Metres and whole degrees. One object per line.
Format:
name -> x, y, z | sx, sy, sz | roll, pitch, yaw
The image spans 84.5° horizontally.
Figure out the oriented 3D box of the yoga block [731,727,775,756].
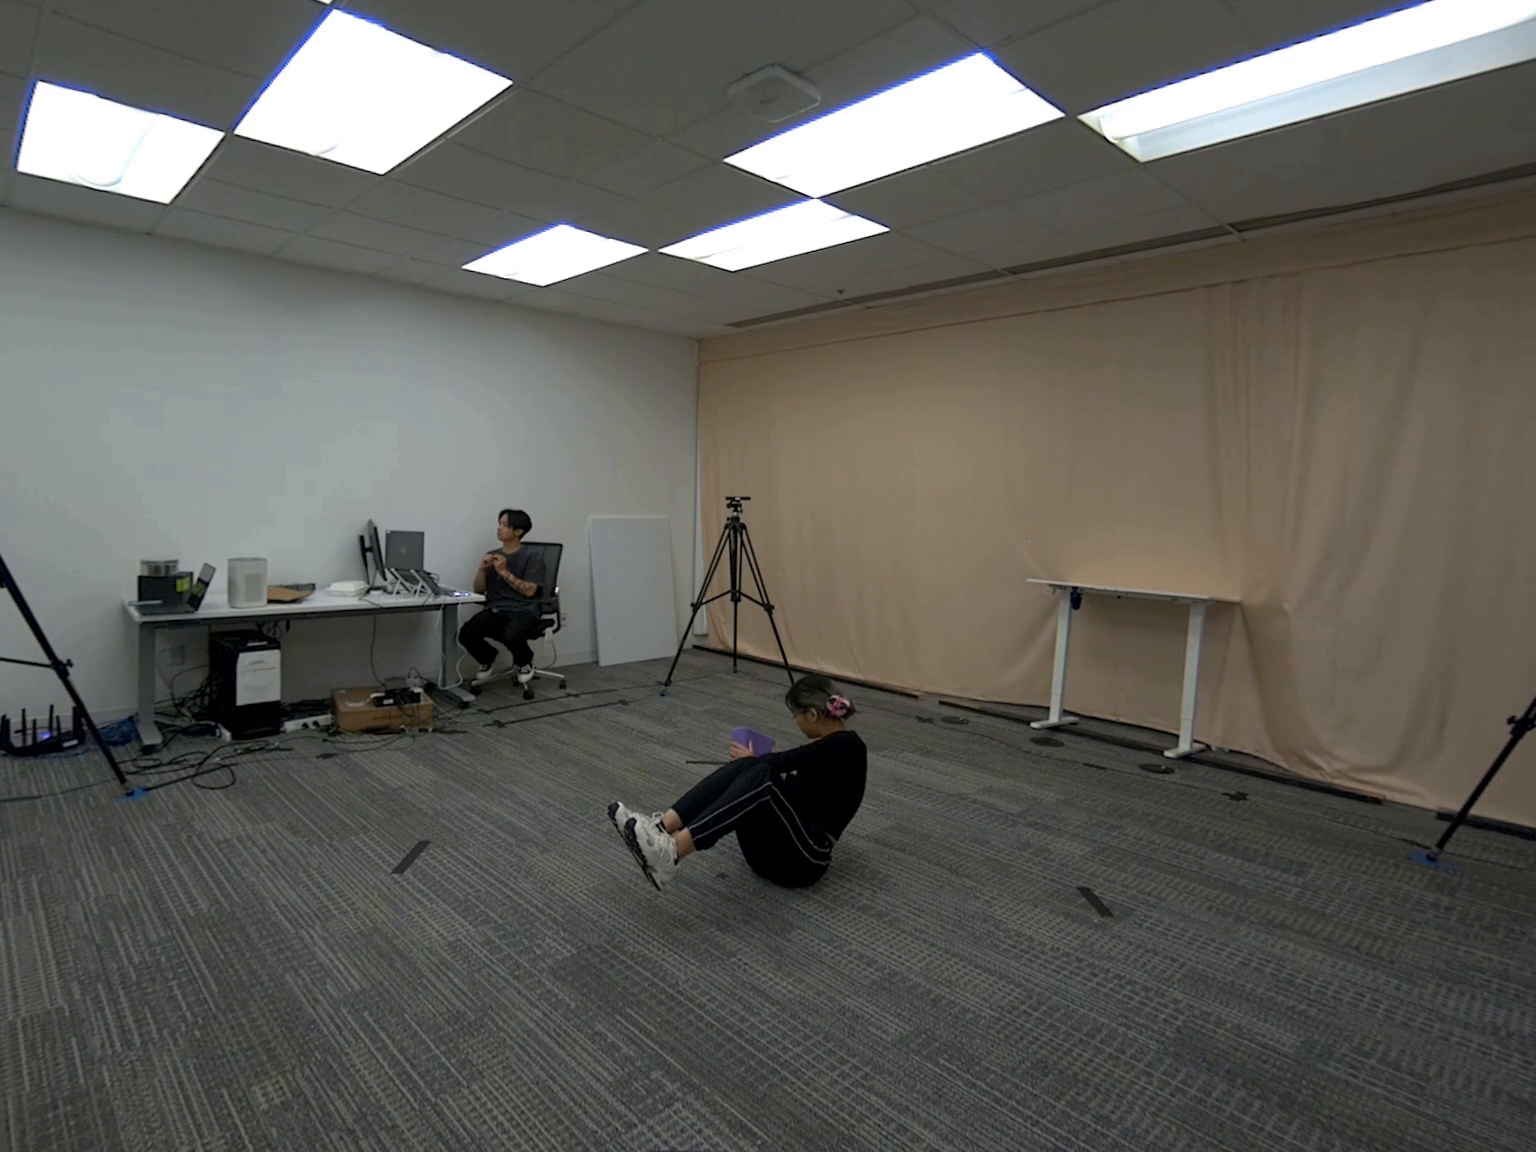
yoga block -> -0.057, 0.724, 3.490 | 0.077, 0.152, 0.222 | -16, -31, 29
